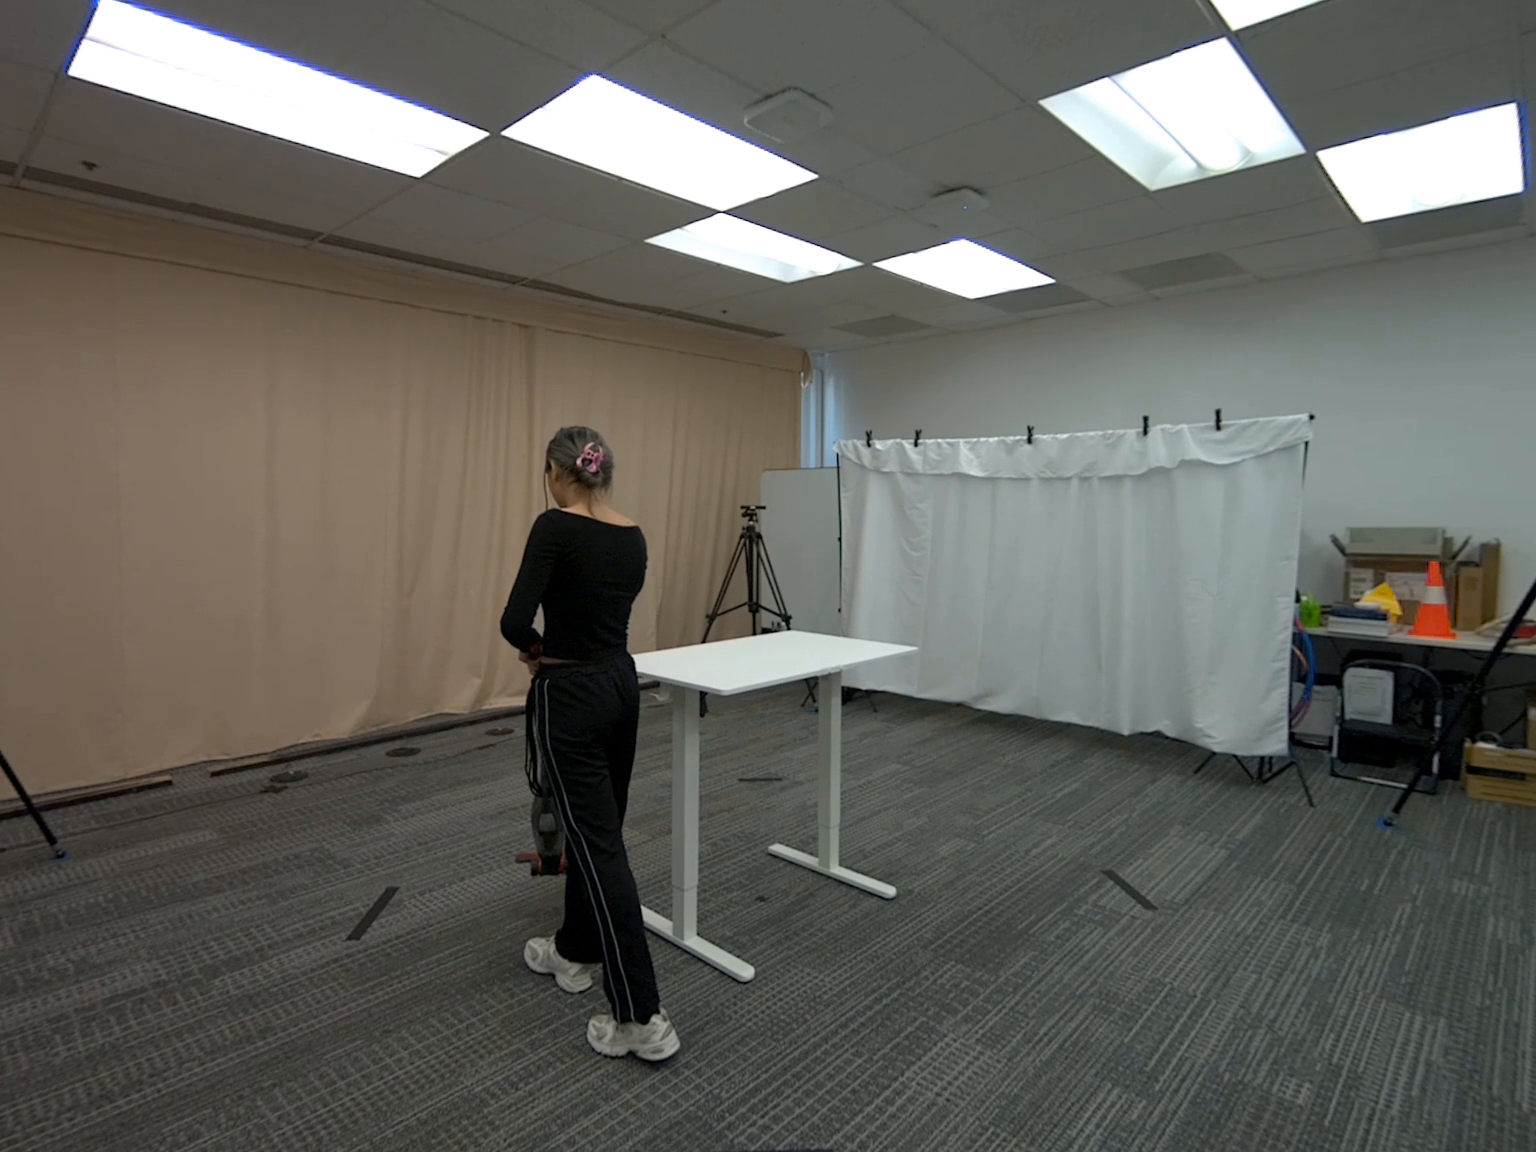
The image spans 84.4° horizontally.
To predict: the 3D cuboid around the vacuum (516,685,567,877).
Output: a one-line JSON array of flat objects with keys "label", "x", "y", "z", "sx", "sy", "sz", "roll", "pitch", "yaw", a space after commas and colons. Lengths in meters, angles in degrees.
[{"label": "vacuum", "x": -0.694, "y": 0.582, "z": 2.578, "sx": 0.250, "sy": 1.034, "sz": 0.147, "roll": -1, "pitch": 37, "yaw": -10}]
